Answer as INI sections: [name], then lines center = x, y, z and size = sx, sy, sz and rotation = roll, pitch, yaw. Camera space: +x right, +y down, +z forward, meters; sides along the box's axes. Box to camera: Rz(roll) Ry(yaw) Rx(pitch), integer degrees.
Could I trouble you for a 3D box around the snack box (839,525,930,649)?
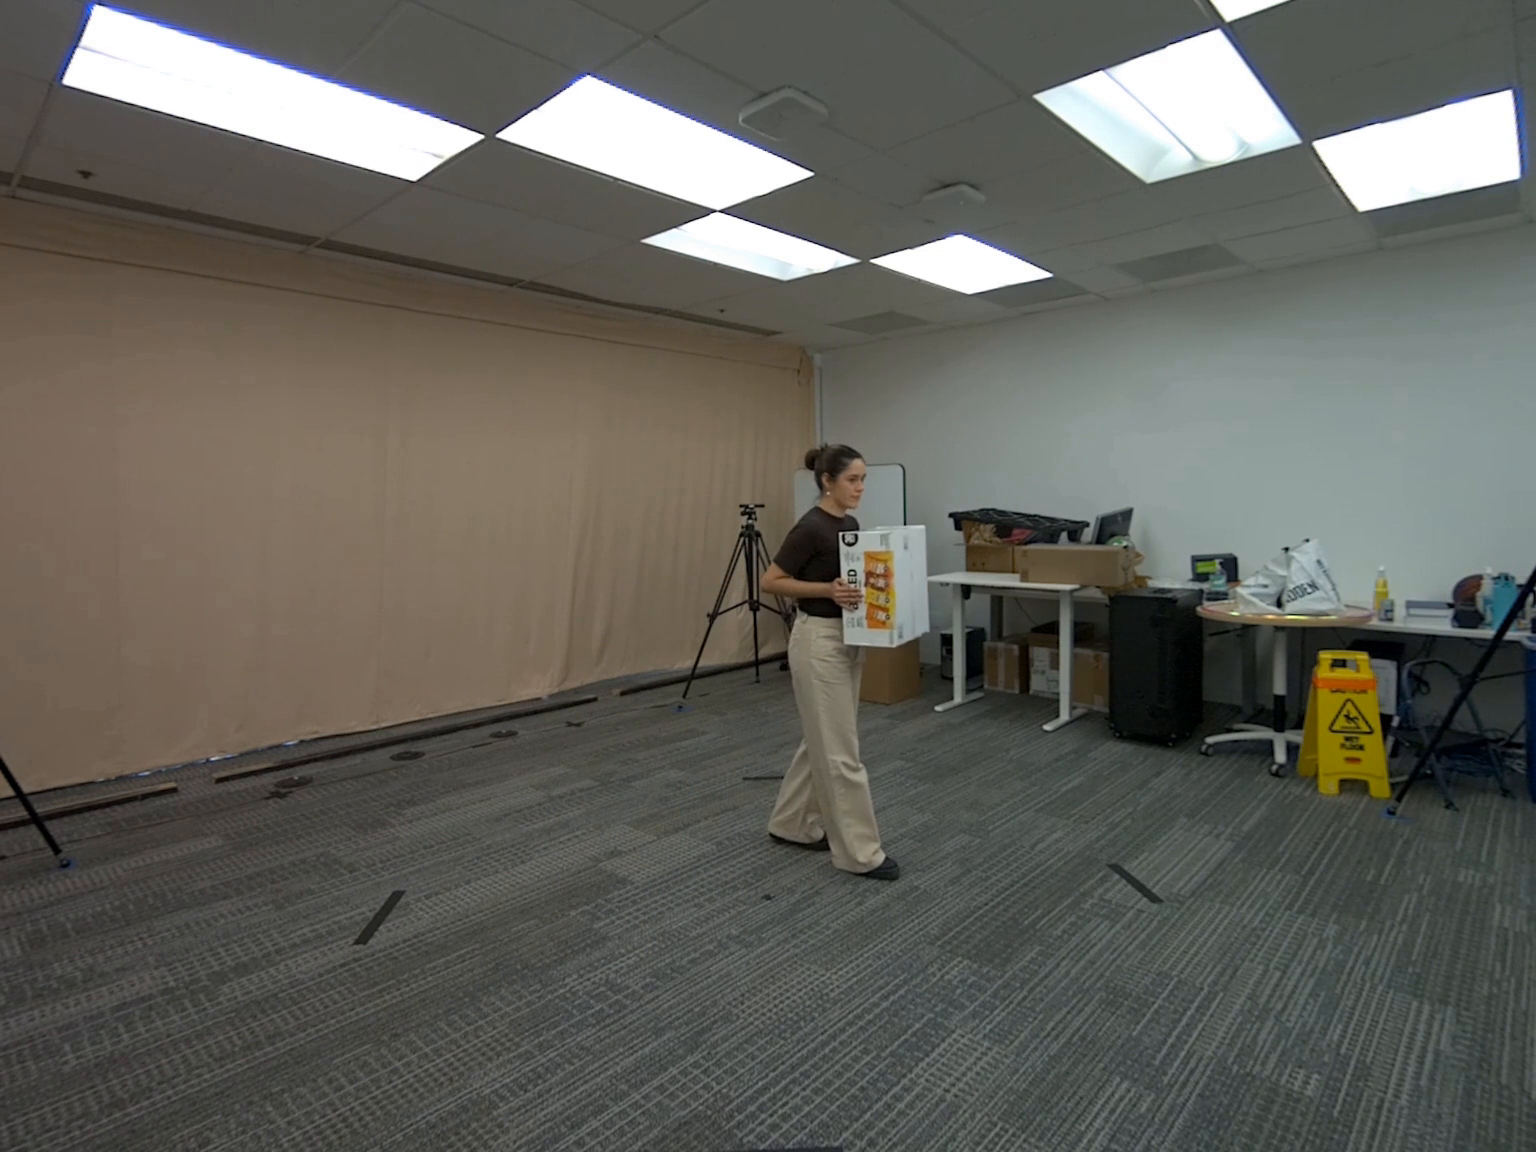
[snack box]
center = 0.438, 0.028, 3.115
size = 0.212, 0.404, 0.331
rotation = -1, 5, 31
